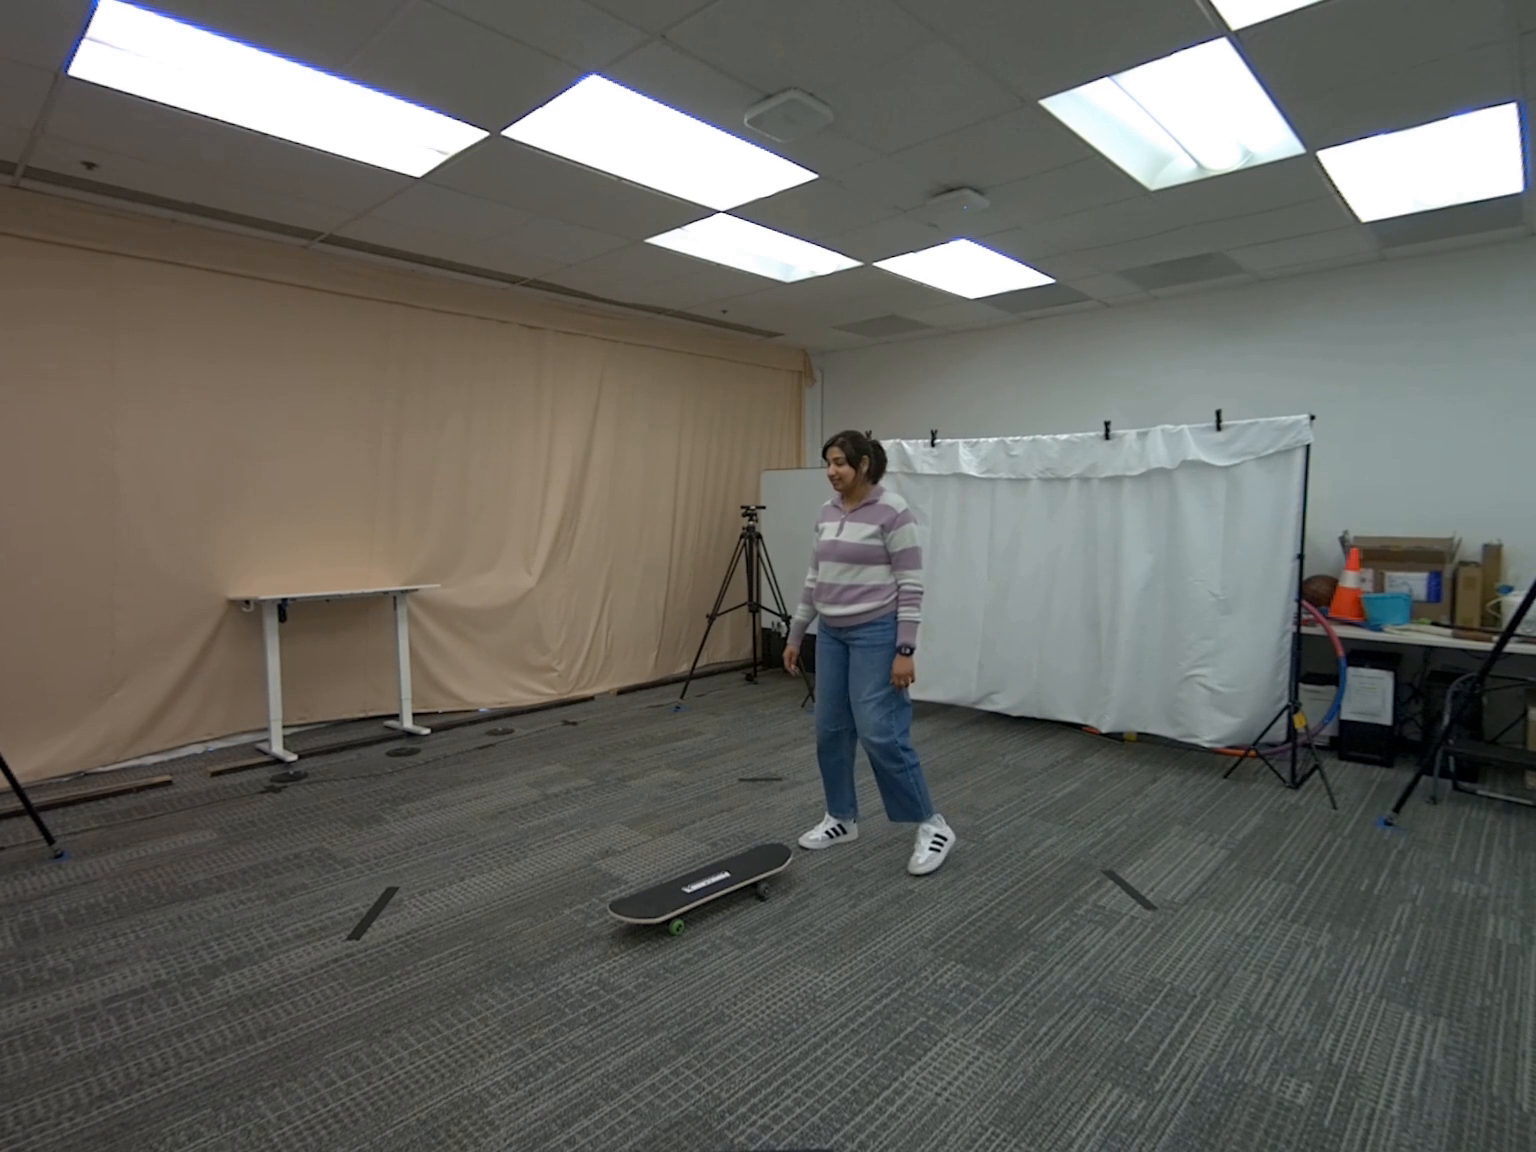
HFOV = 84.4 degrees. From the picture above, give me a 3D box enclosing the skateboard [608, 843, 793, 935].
[{"bbox_3d":[-0.213,1.096,2.915,0.761,0.110,0.200,-5,5,-43],"label":"skateboard"}]
